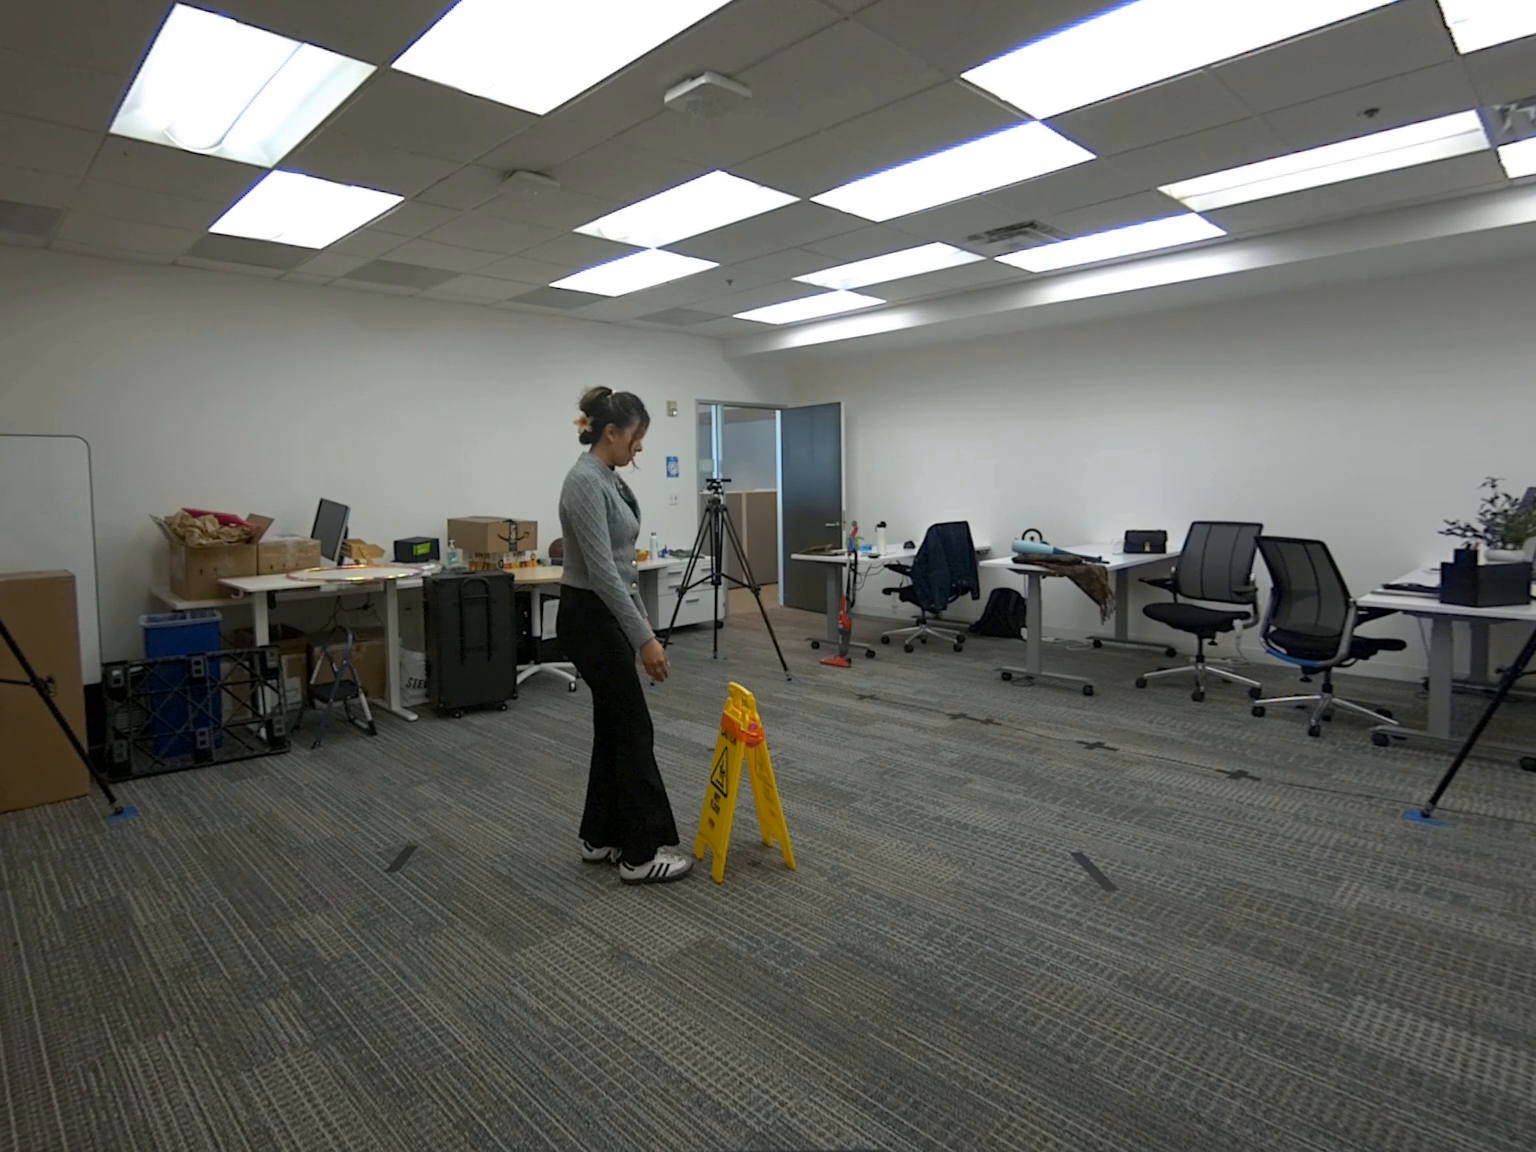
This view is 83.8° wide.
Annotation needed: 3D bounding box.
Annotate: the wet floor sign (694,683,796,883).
[{"bbox_3d":[-0.091,0.716,3.106,0.284,0.643,0.289,-2,5,-22],"label":"wet floor sign"}]
